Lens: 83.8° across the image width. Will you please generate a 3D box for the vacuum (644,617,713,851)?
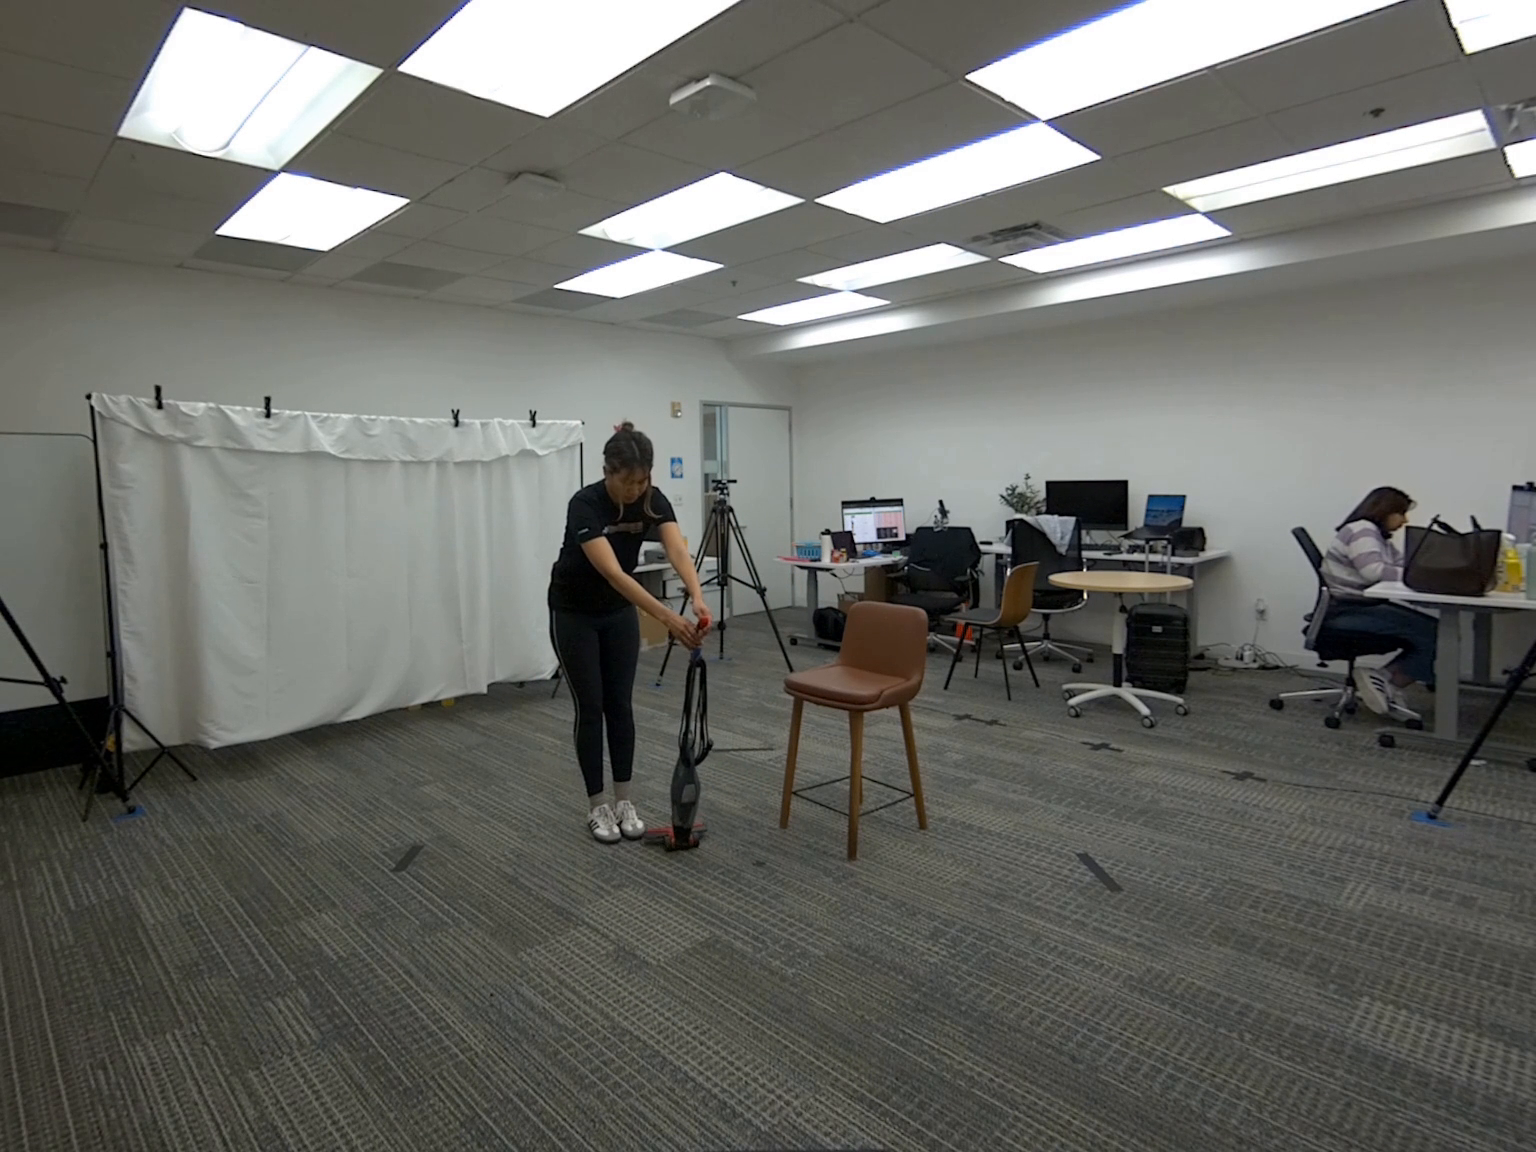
[{"bbox_3d":[-0.274,0.585,3.033,0.248,1.028,0.149,-4,33,-20],"label":"vacuum"}]
